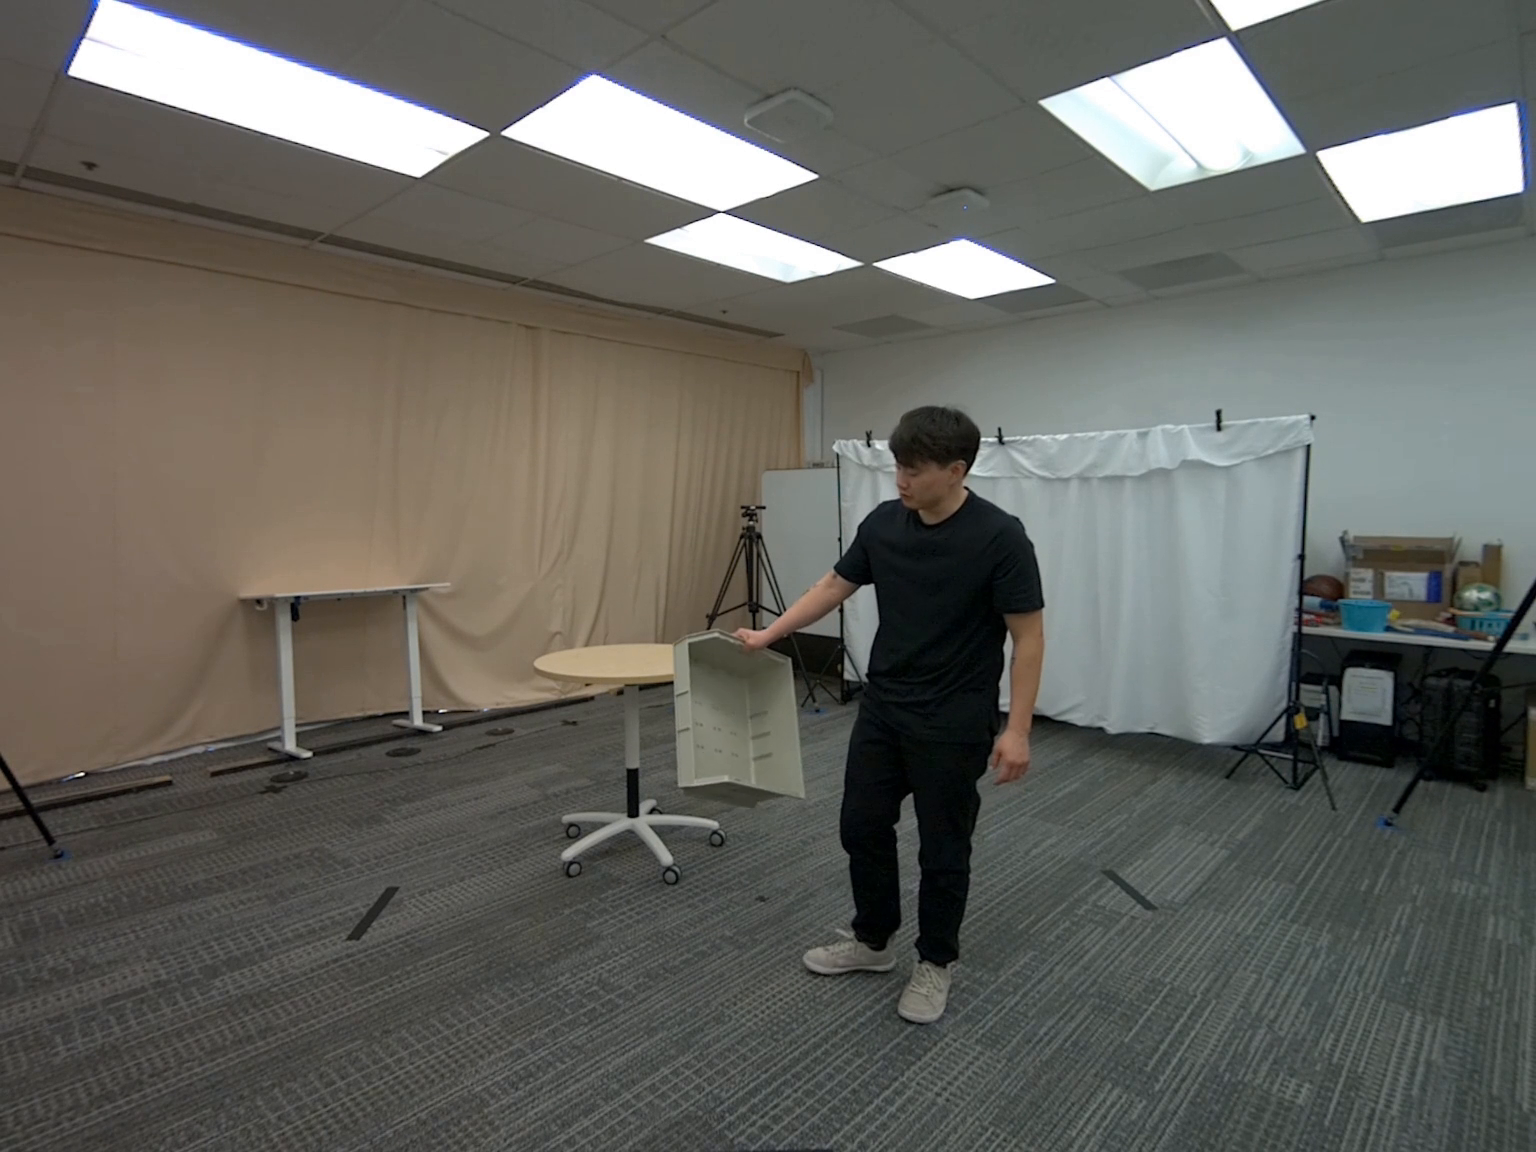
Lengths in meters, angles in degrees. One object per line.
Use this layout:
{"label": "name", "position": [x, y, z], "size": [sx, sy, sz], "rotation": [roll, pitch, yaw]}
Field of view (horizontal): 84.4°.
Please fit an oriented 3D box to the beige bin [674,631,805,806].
{"label": "beige bin", "position": [-0.083, 0.420, 2.379], "size": [0.192, 0.430, 0.363], "rotation": [-25, -33, 31]}
